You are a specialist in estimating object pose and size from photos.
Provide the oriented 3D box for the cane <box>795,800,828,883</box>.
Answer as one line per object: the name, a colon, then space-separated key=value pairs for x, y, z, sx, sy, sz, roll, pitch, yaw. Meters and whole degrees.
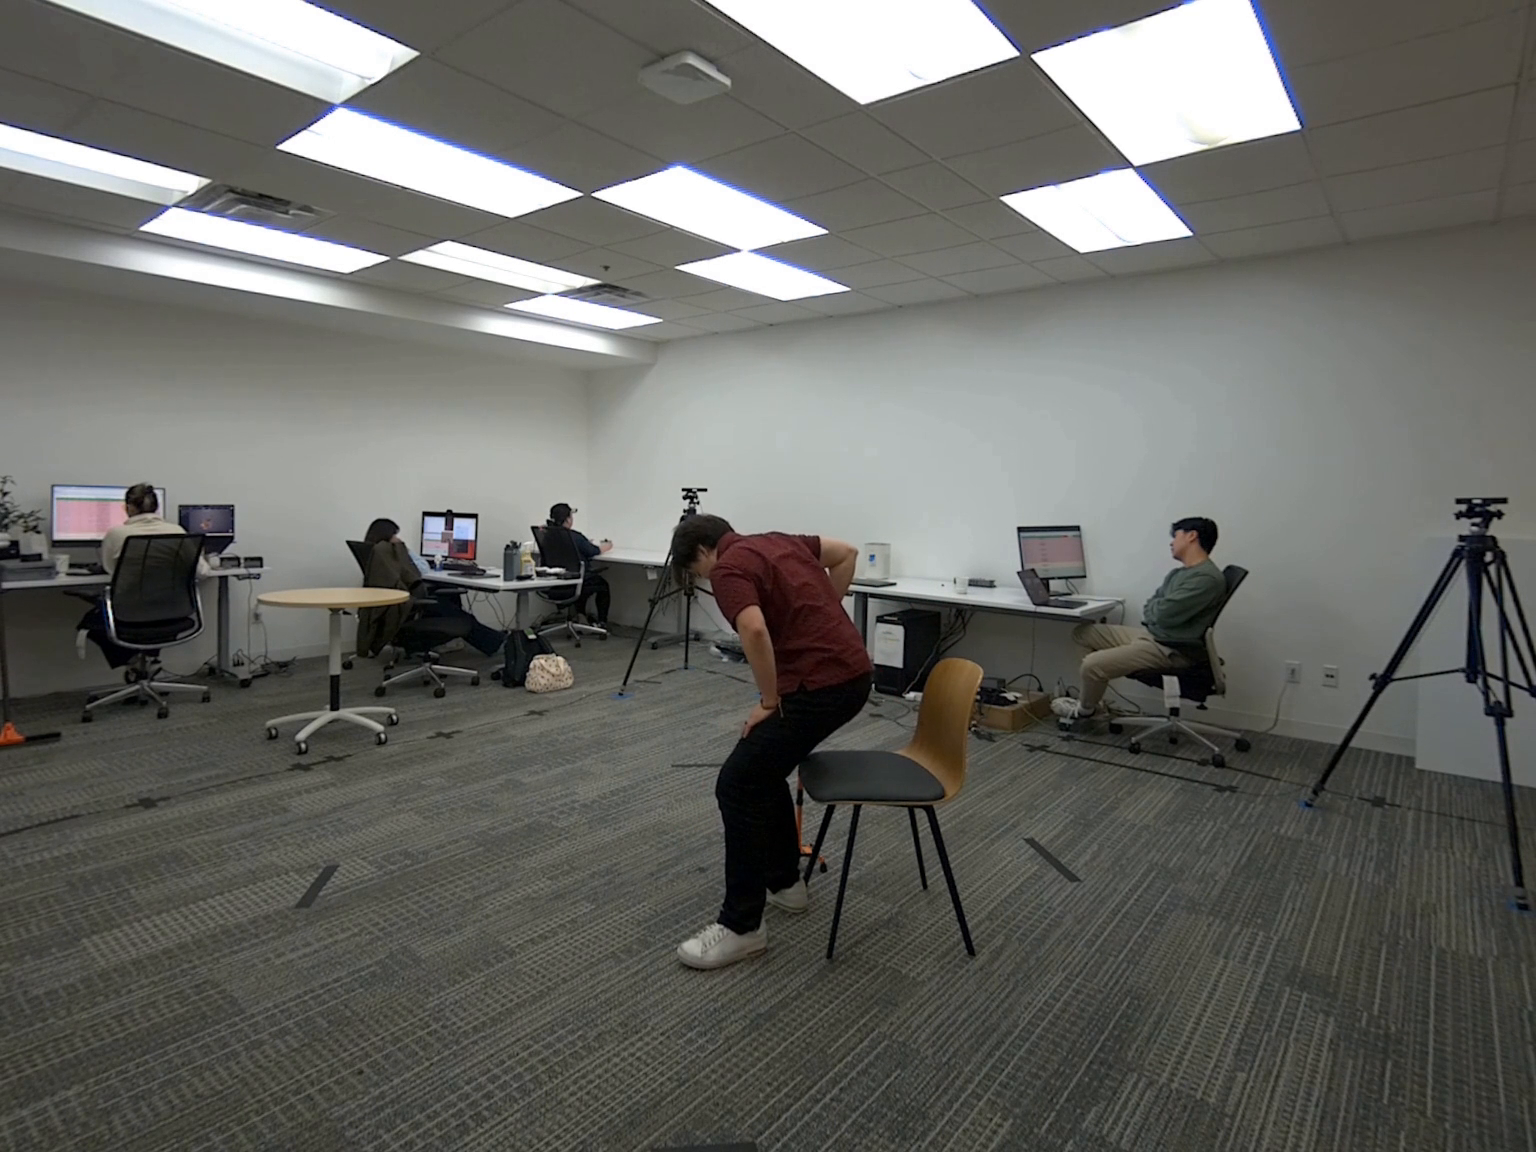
cane: x=0.106 y=0.627 z=3.147 sx=0.204 sy=0.907 sz=0.154 roll=0 pitch=1 yaw=-13
